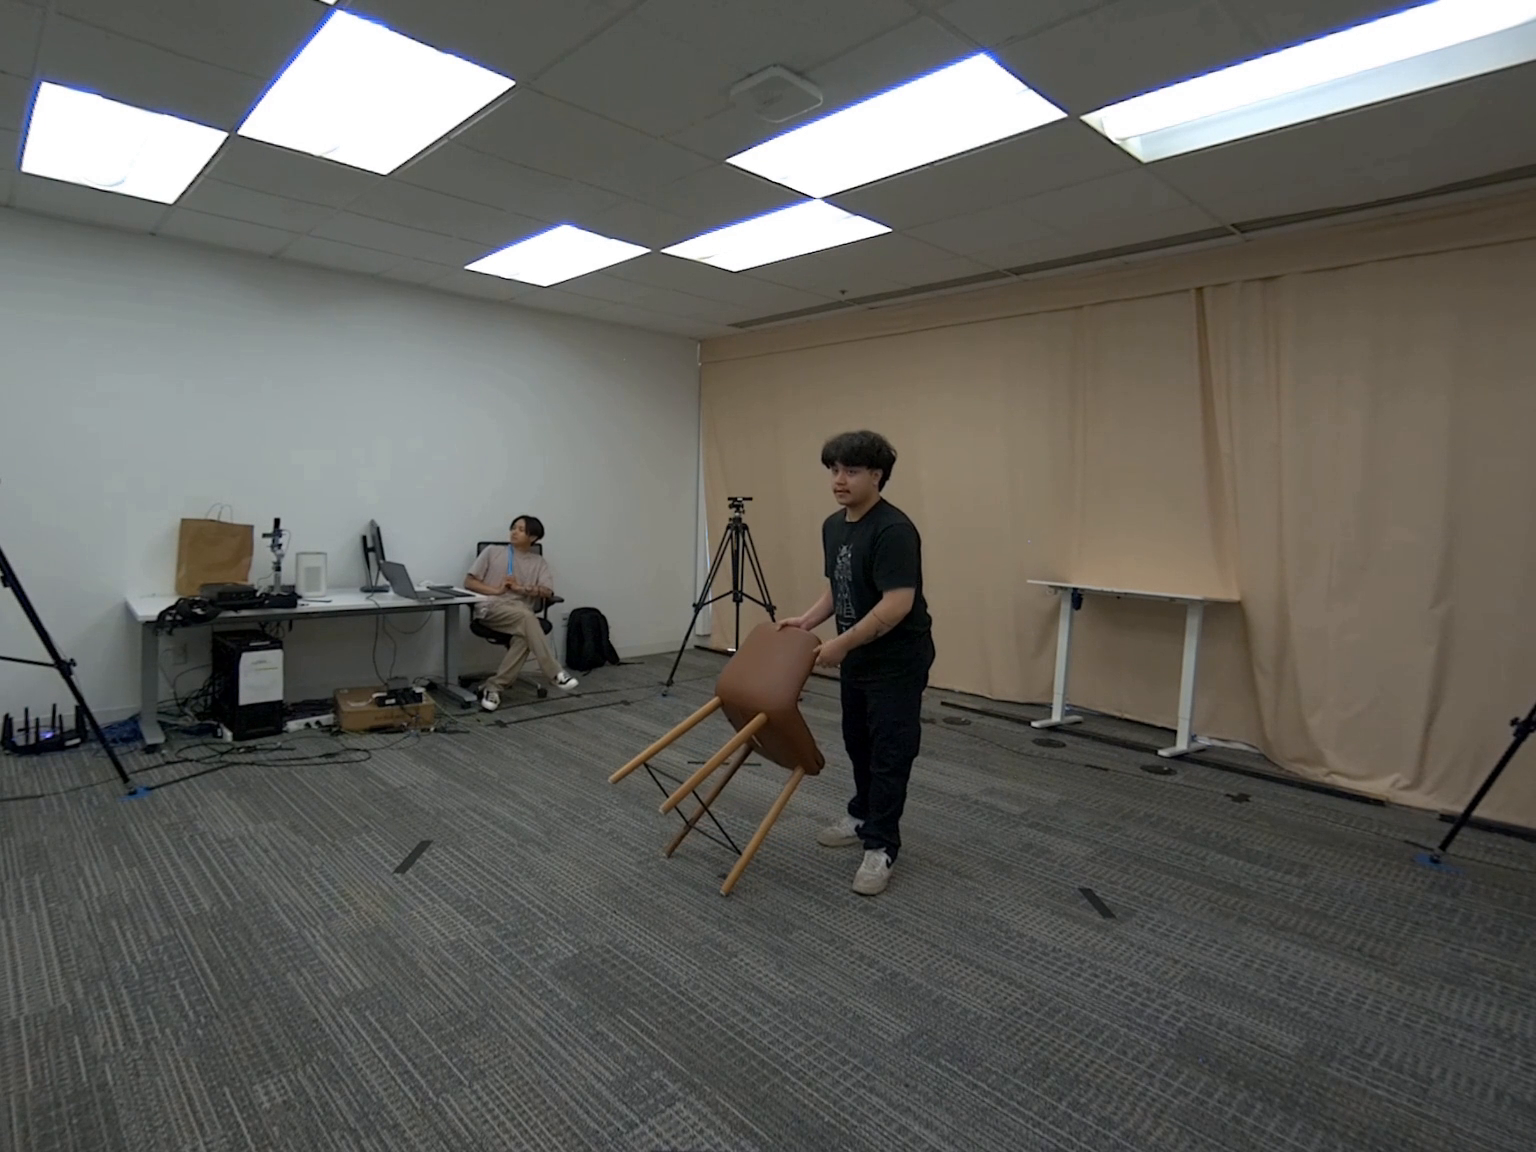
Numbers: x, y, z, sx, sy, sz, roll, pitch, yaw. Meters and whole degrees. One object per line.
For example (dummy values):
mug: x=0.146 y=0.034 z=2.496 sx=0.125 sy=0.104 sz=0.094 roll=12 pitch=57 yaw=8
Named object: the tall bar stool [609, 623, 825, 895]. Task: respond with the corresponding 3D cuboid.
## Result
tall bar stool: x=-0.106 y=0.649 z=3.200 sx=0.468 sy=0.456 sz=0.889 roll=5 pitch=45 yaw=51
